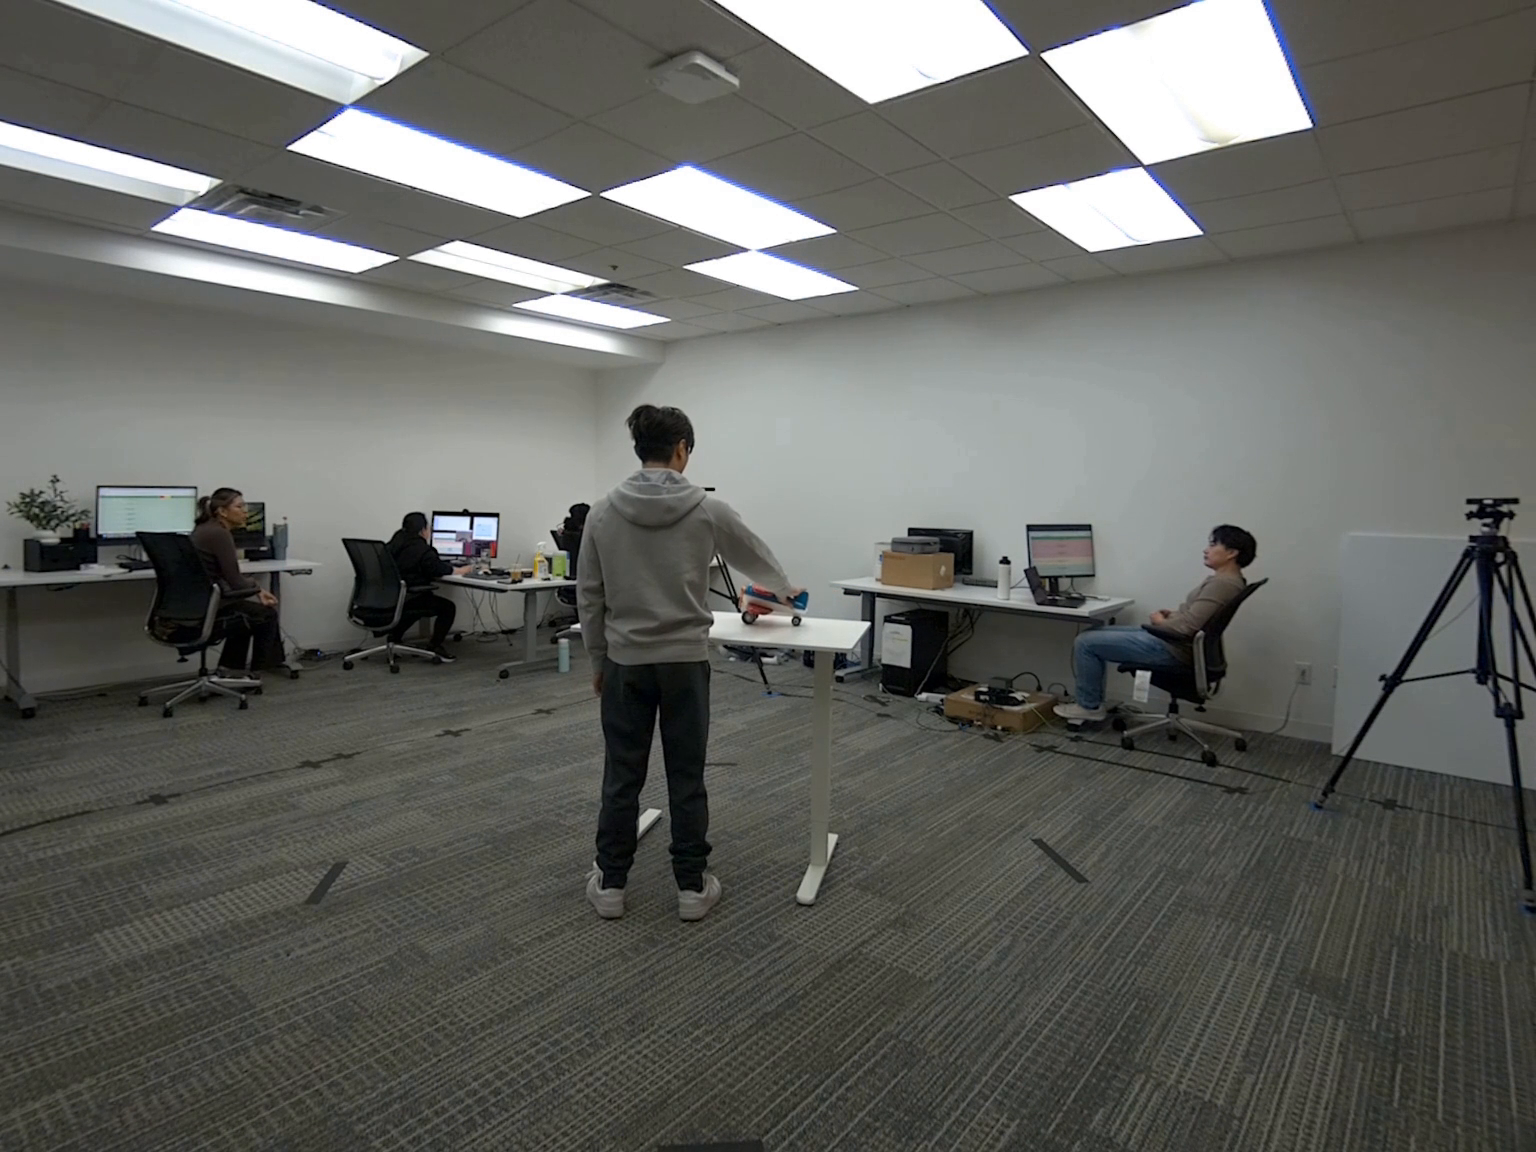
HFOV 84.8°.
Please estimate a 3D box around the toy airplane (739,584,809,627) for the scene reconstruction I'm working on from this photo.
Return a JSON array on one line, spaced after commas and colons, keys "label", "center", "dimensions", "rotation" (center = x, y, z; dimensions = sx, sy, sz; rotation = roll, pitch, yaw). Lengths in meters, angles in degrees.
[{"label": "toy airplane", "center": [0.007, 0.101, 3.246], "dimensions": [0.254, 0.156, 0.257], "rotation": [0, 5, -19]}]
